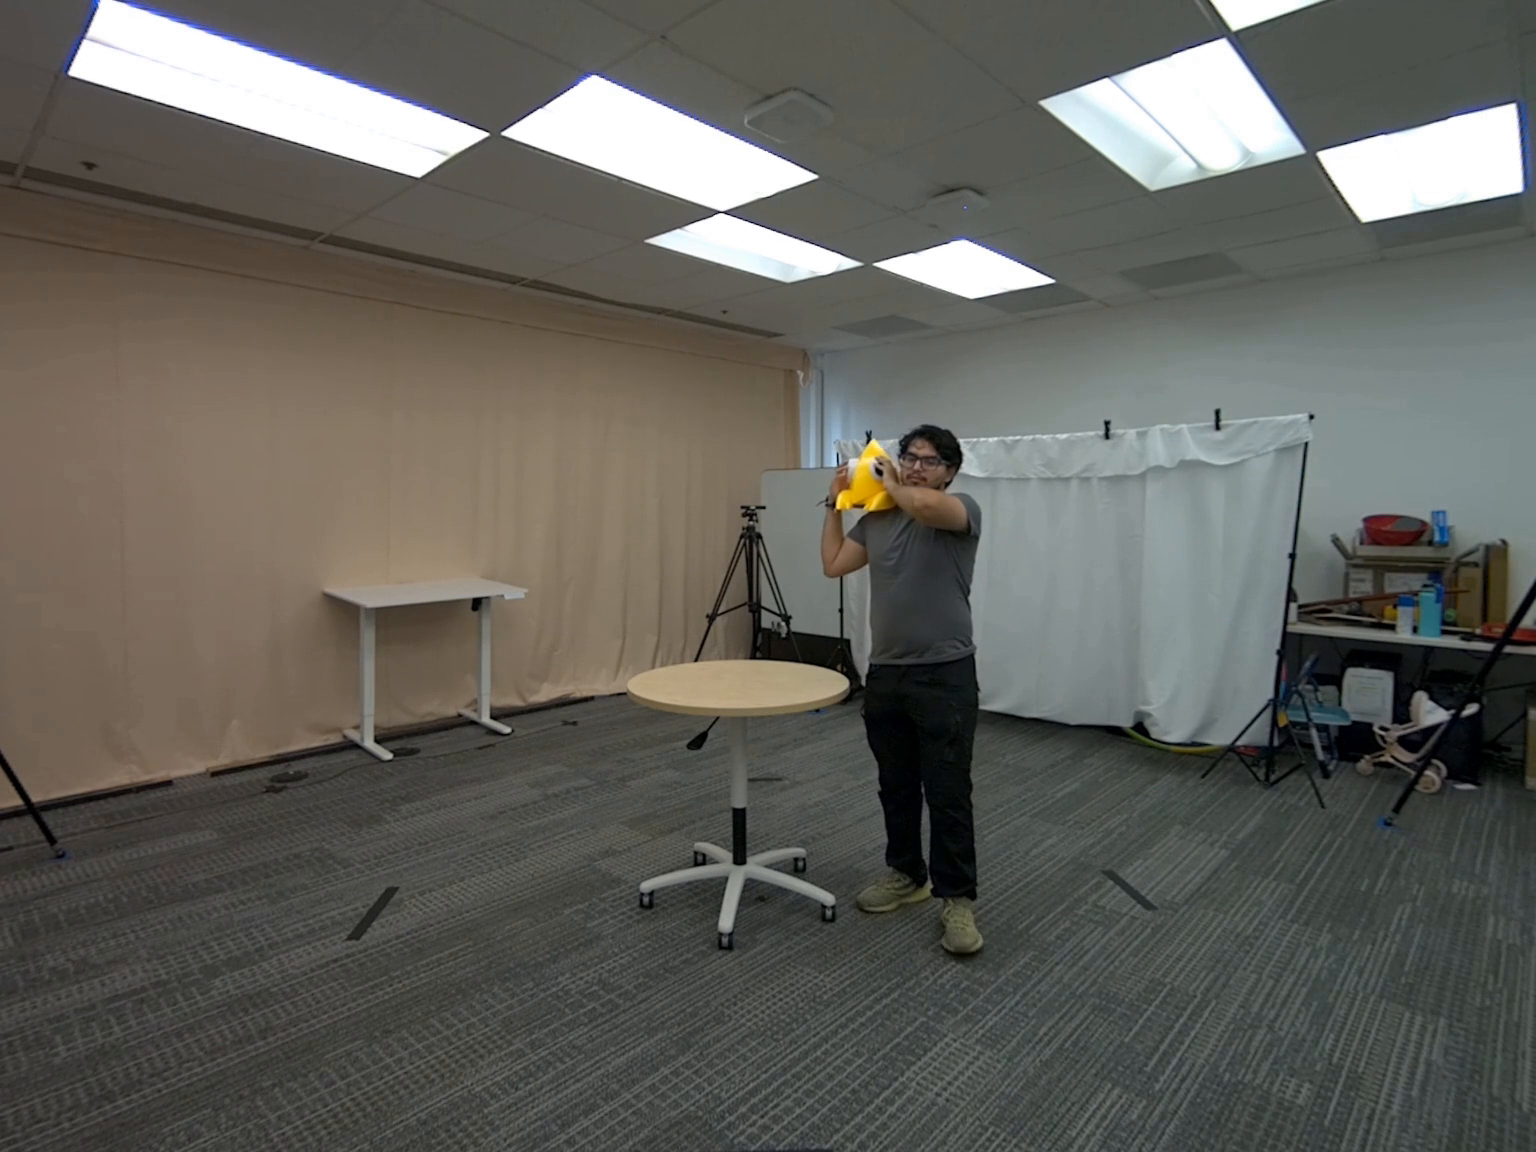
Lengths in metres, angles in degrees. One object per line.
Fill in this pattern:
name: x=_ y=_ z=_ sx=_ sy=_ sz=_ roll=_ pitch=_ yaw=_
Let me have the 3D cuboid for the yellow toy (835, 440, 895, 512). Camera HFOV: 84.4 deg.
yellow toy: x=0.350 y=-0.356 z=2.921 sx=0.211 sy=0.229 sz=0.188 roll=5 pitch=14 yaw=37
